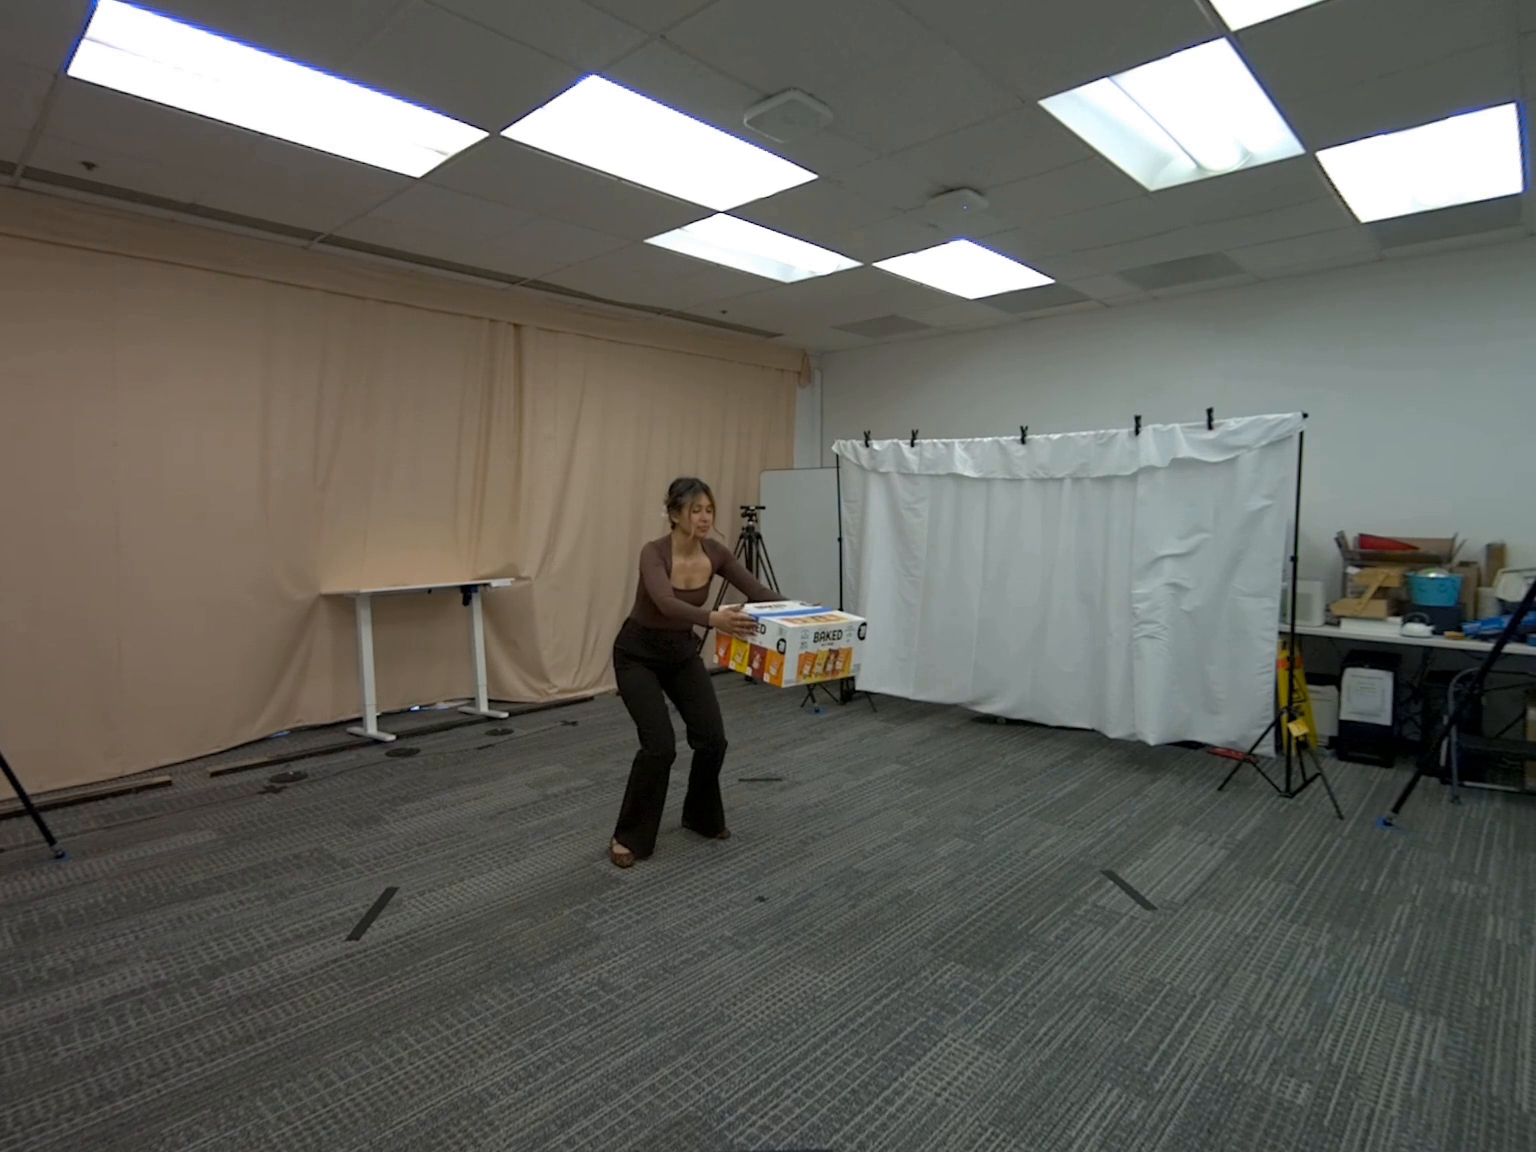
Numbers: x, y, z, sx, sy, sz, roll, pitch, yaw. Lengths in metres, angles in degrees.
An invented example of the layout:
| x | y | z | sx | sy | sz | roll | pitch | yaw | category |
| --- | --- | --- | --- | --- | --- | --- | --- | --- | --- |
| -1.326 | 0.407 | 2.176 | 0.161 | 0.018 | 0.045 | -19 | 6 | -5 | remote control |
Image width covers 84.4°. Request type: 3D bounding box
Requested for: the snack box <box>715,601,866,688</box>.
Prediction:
| x | y | z | sx | sy | sz | roll | pitch | yaw | category |
| --- | --- | --- | --- | --- | --- | --- | --- | --- | --- |
| 0.083 | 0.234 | 2.940 | 0.392 | 0.205 | 0.352 | -2 | 10 | -44 | snack box |
